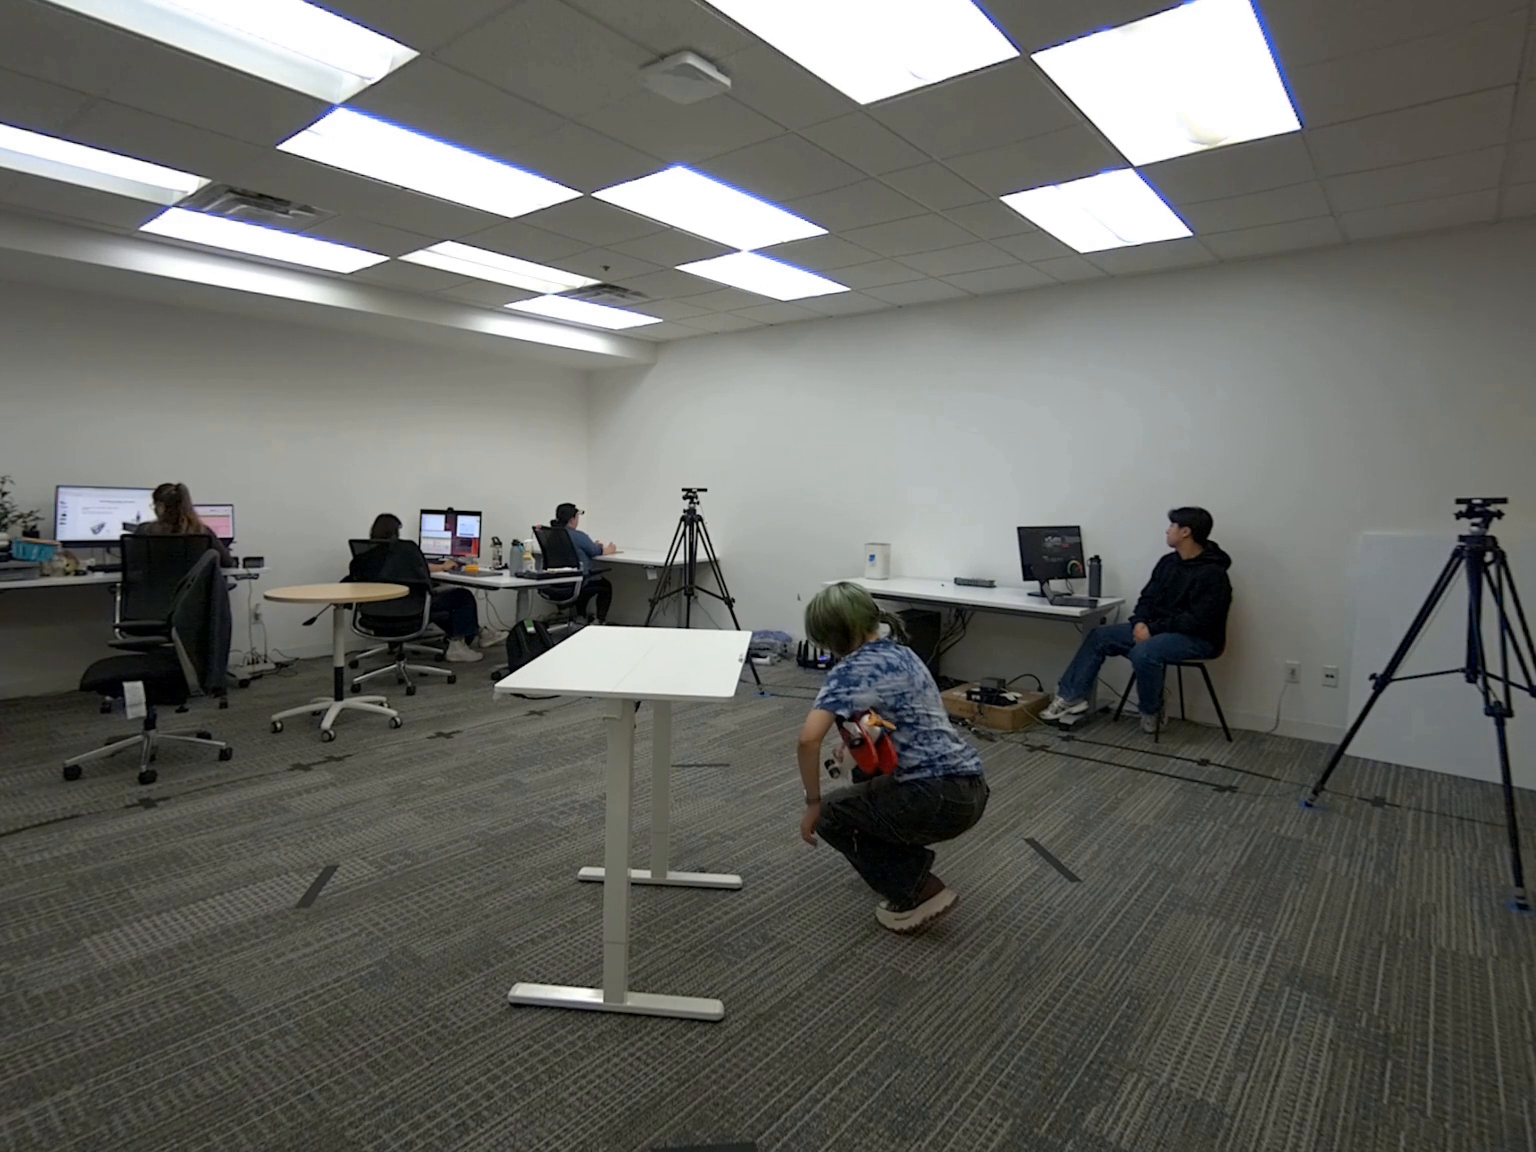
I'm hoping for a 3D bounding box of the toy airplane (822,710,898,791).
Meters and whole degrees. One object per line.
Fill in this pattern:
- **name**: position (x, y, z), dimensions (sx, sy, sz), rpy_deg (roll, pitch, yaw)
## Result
- **toy airplane**: position (0.273, 0.534, 2.736), dimensions (0.153, 0.257, 0.259), rpy_deg (0, -26, -25)
